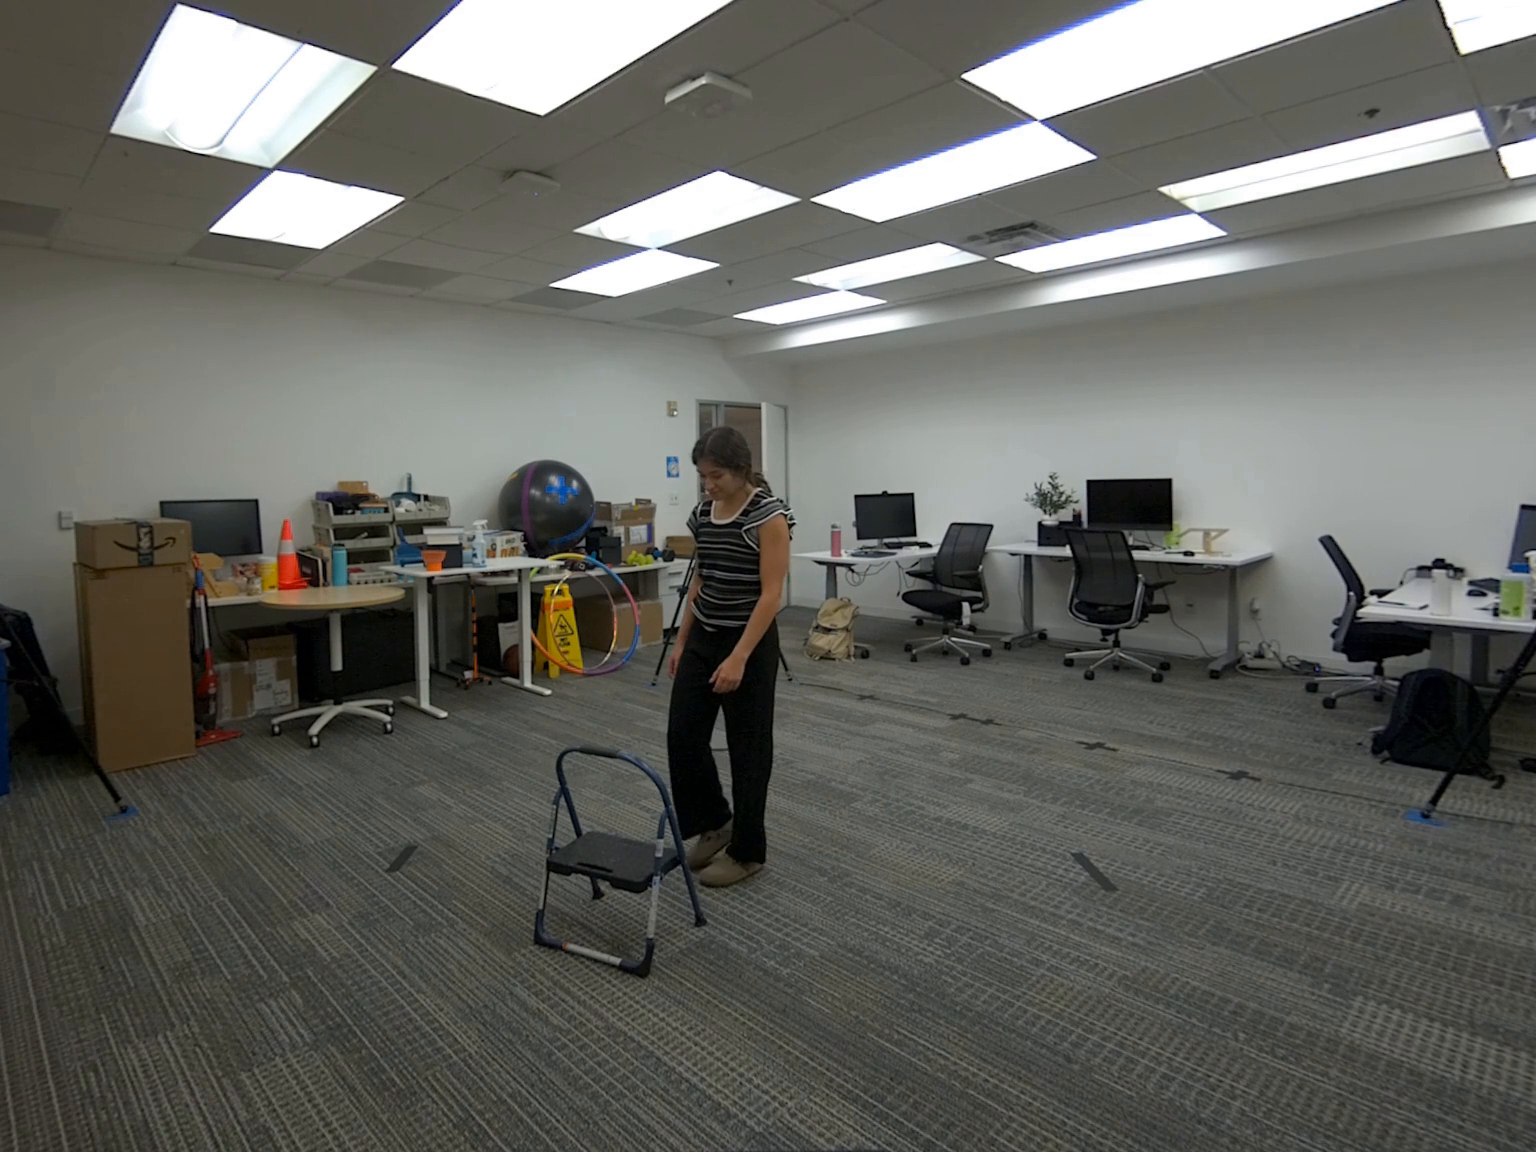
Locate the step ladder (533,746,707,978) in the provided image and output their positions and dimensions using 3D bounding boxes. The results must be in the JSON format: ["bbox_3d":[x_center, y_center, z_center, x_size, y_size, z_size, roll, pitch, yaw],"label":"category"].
[{"bbox_3d":[-0.463,0.808,2.628,0.441,0.604,0.342,1,5,26],"label":"step ladder"}]
